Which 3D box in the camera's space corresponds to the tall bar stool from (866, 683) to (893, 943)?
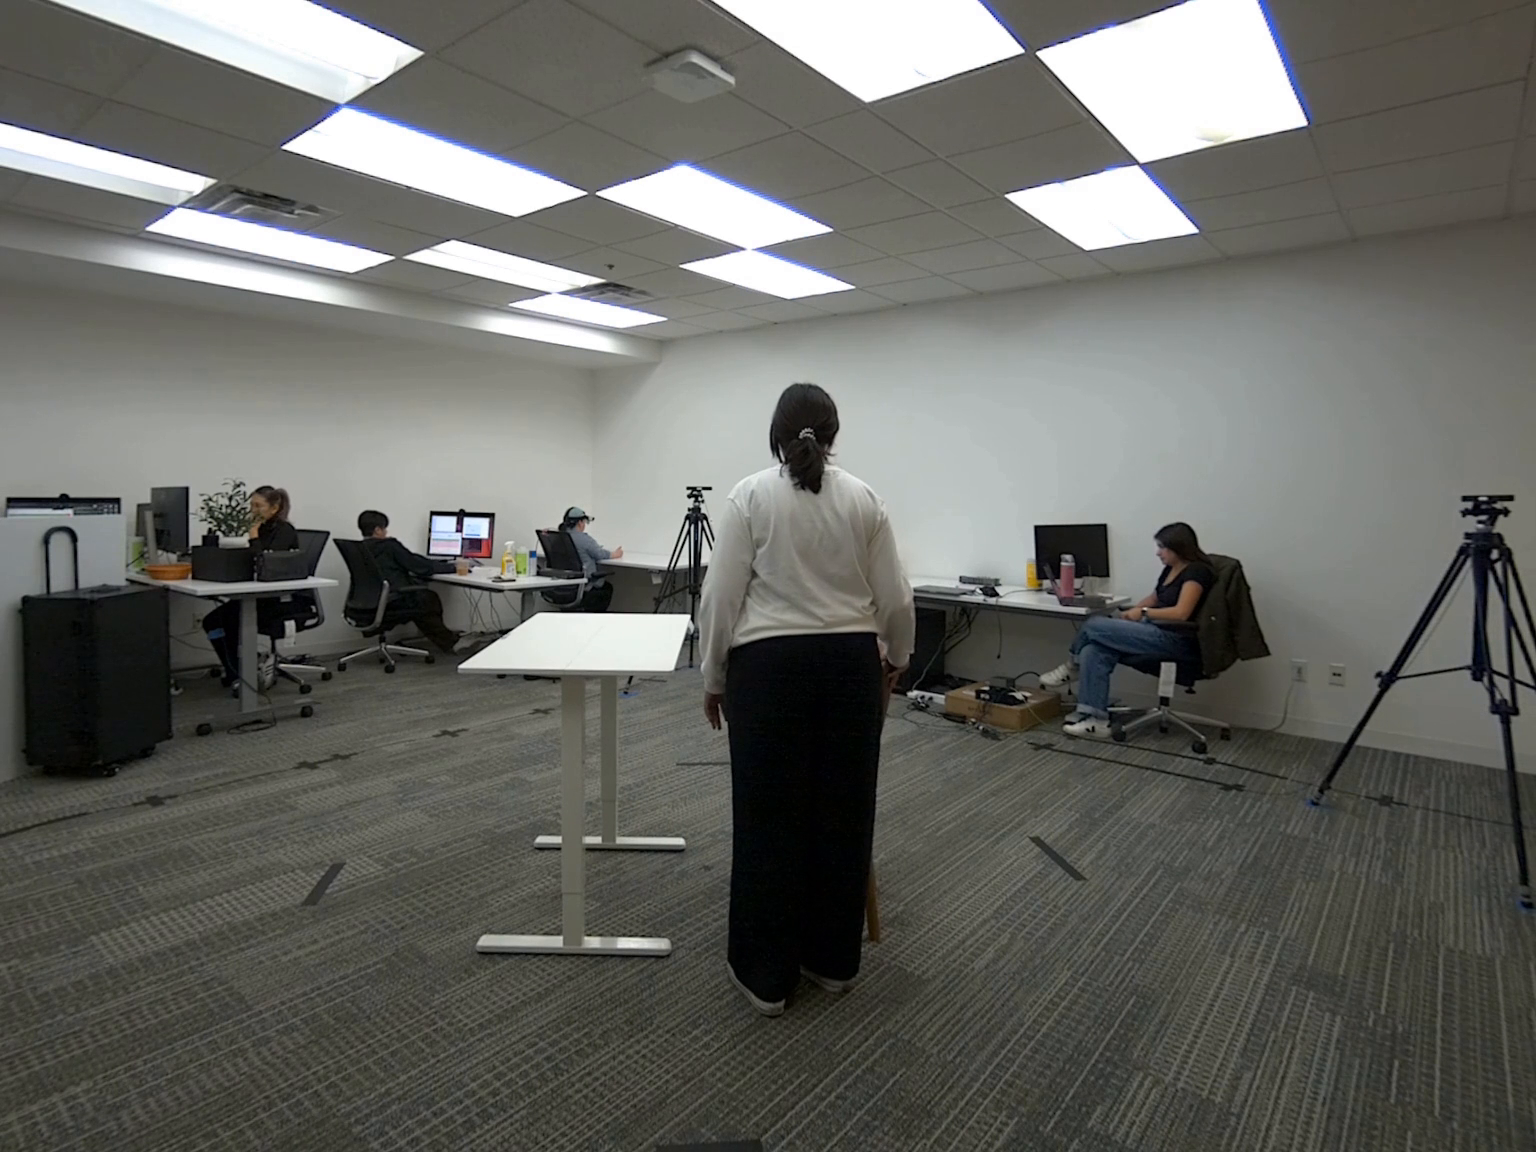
[{"bbox_3d":[0.157,0.666,2.819,0.472,0.887,0.453,4,4,8],"label":"tall bar stool"}]
